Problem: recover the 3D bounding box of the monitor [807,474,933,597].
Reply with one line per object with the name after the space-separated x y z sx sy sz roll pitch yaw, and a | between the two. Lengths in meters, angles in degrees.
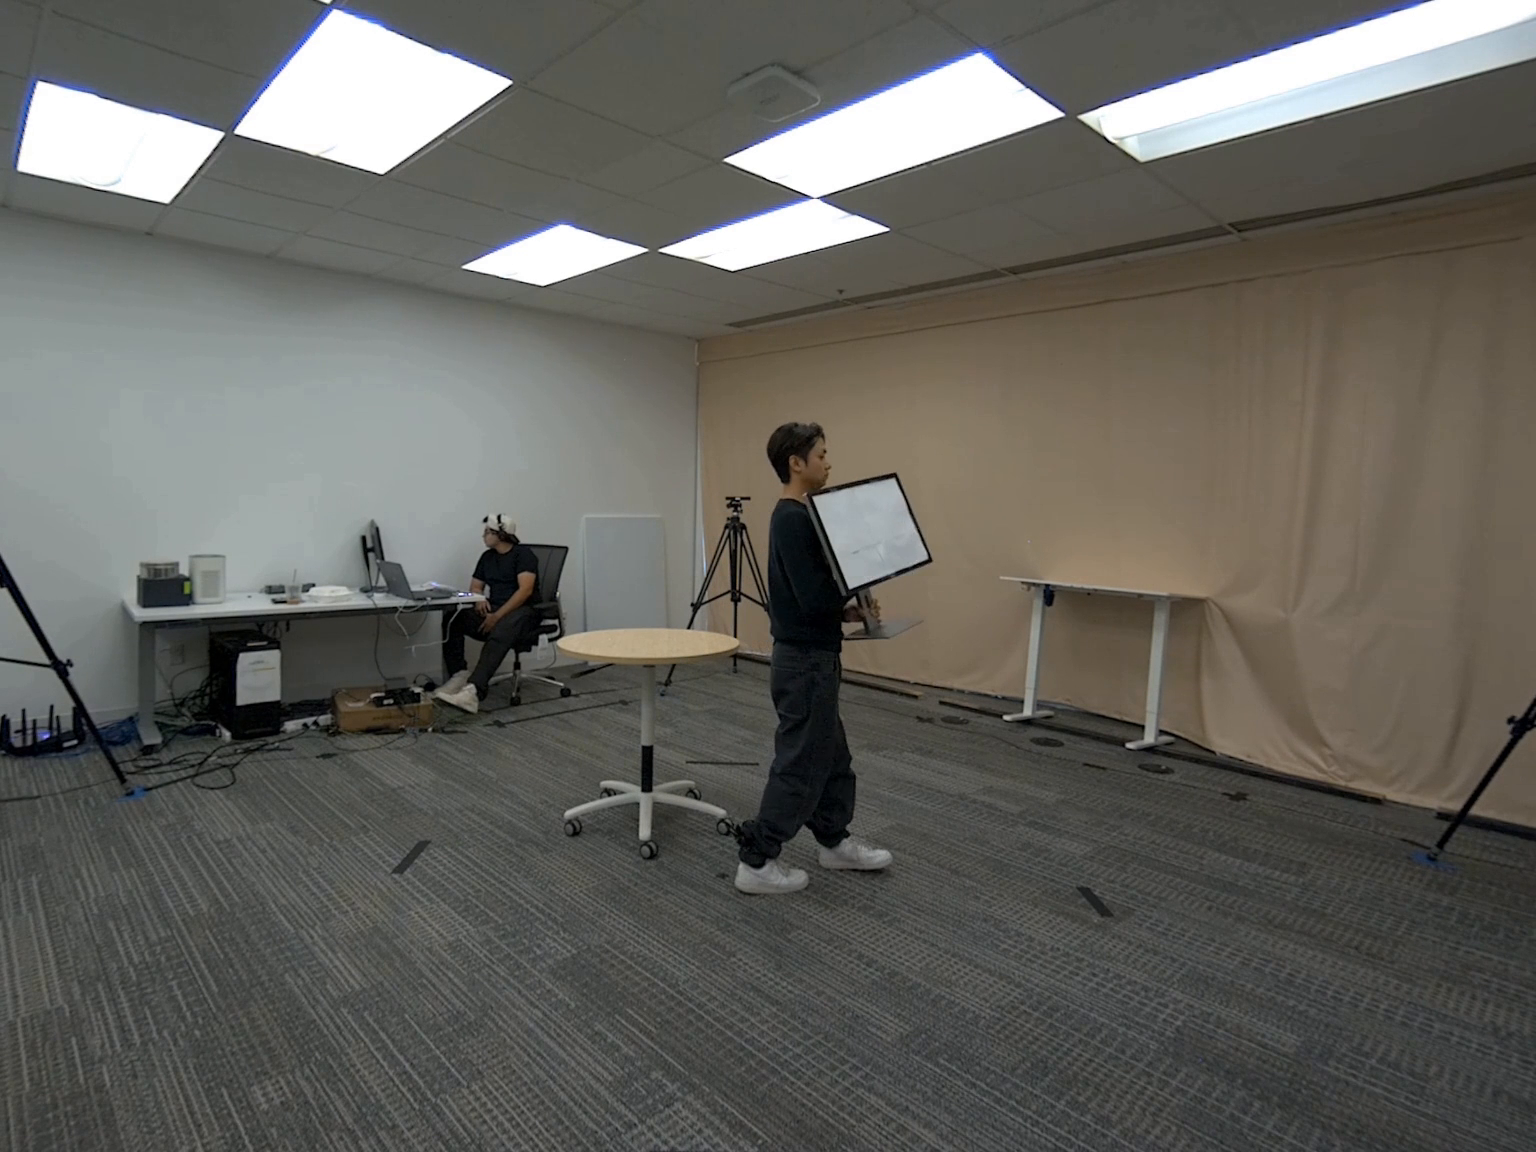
0.350 -0.072 2.975 0.179 0.513 0.520 -1 9 42 | monitor
